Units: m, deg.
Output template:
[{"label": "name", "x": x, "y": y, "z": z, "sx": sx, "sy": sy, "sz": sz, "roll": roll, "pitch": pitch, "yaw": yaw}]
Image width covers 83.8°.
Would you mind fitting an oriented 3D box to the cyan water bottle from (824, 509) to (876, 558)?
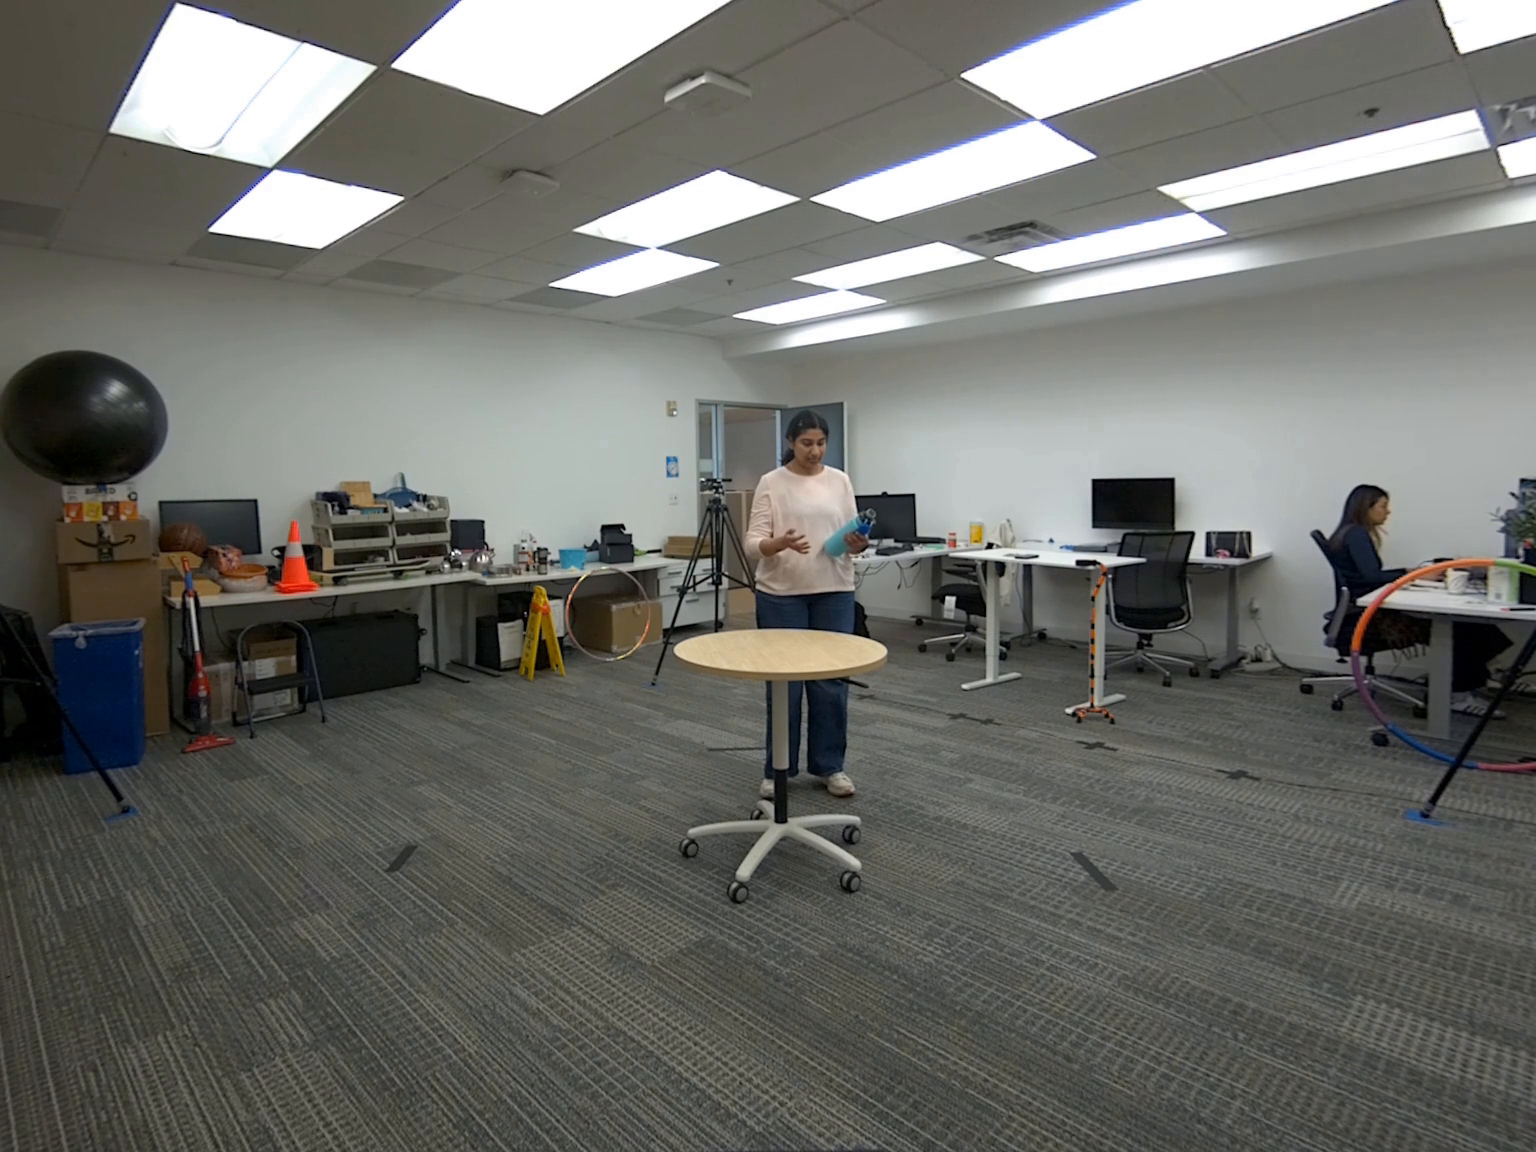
[{"label": "cyan water bottle", "x": 0.352, "y": -0.174, "z": 3.565, "sx": 0.090, "sy": 0.094, "sz": 0.284, "roll": -4, "pitch": -24, "yaw": -33}]
